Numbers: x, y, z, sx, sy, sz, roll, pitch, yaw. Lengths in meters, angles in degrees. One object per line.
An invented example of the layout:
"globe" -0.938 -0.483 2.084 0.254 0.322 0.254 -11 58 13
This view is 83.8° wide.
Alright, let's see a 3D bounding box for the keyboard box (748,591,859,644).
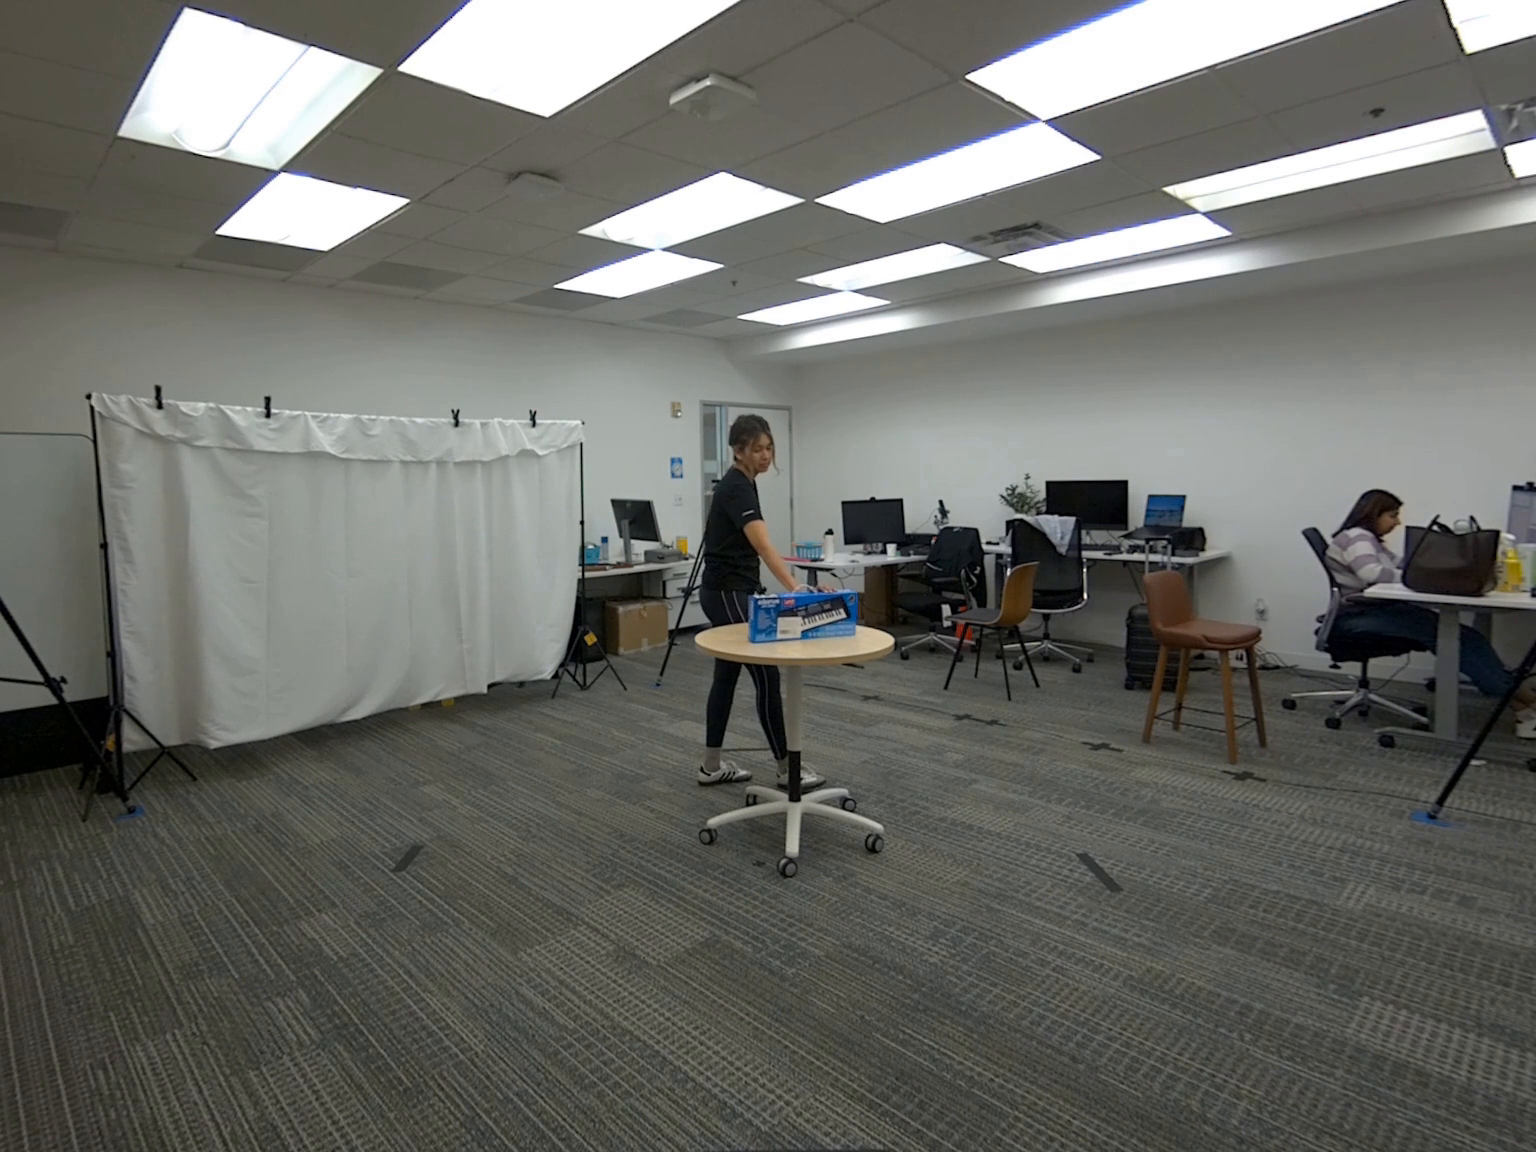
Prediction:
"keyboard box" 0.131 0.155 3.282 0.429 0.175 0.060 -2 7 -19
